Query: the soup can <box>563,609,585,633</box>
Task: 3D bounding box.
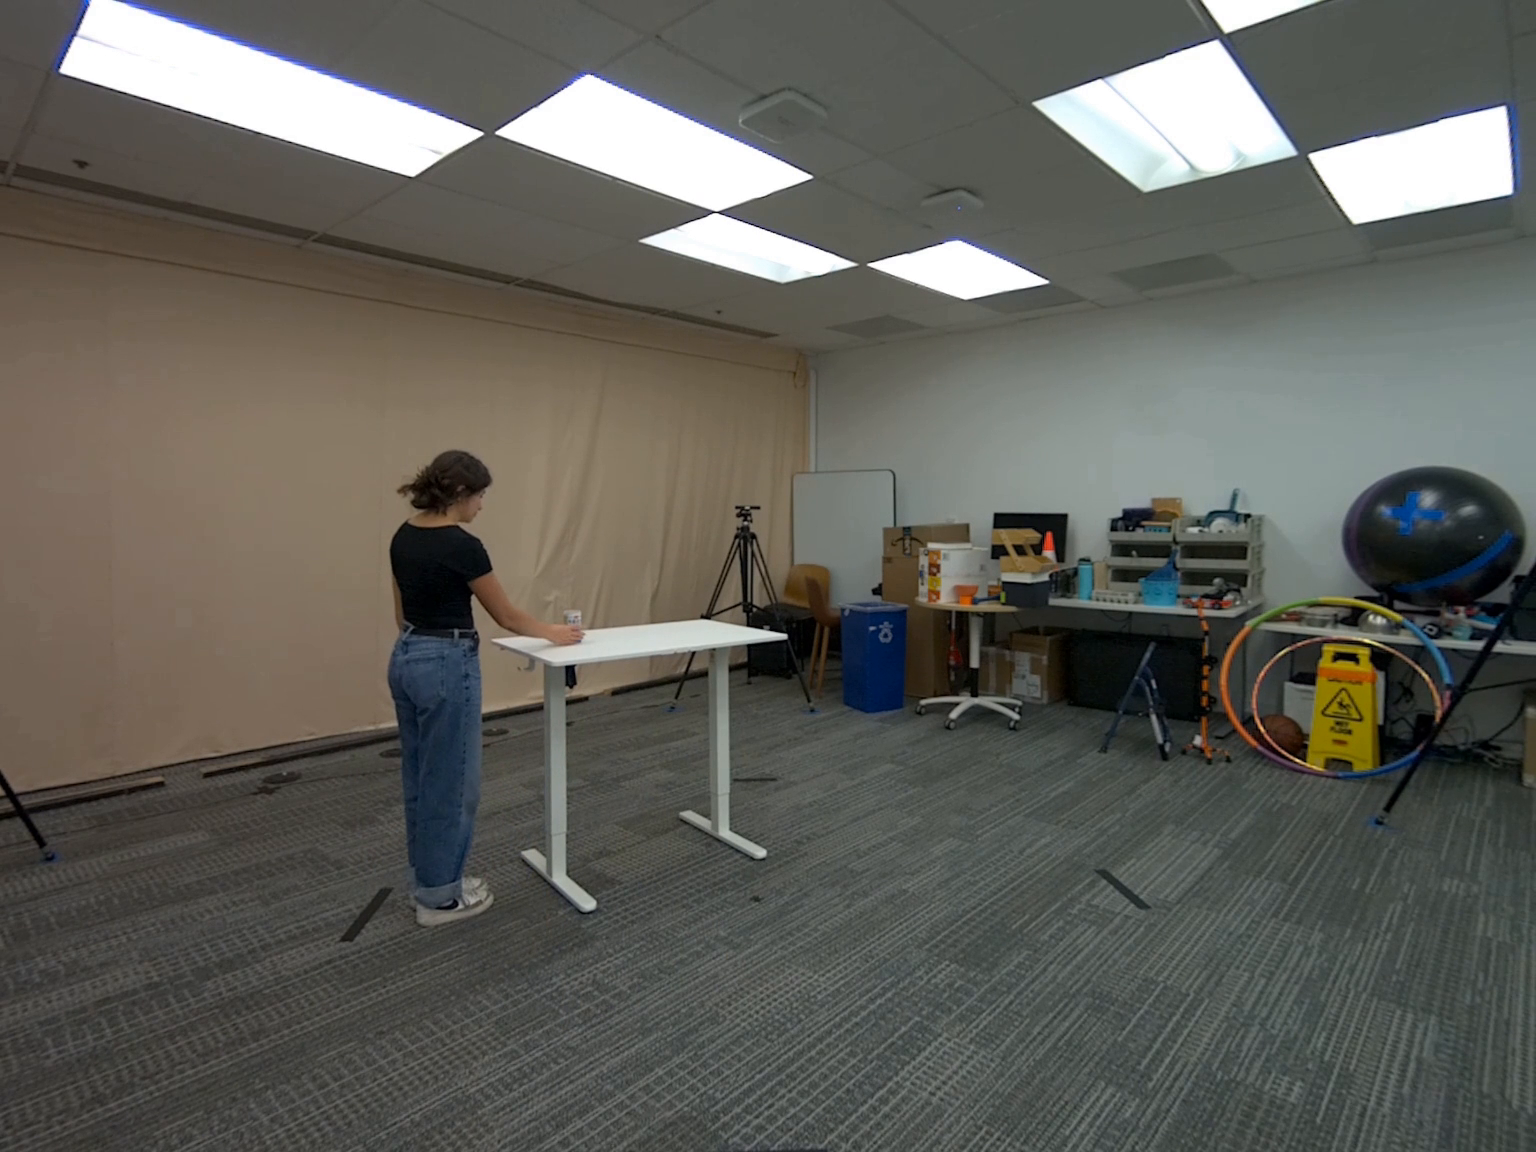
[{"bbox_3d":[-0.736,0.190,3.180,0.067,0.121,0.067,3,1,-2],"label":"soup can"}]
